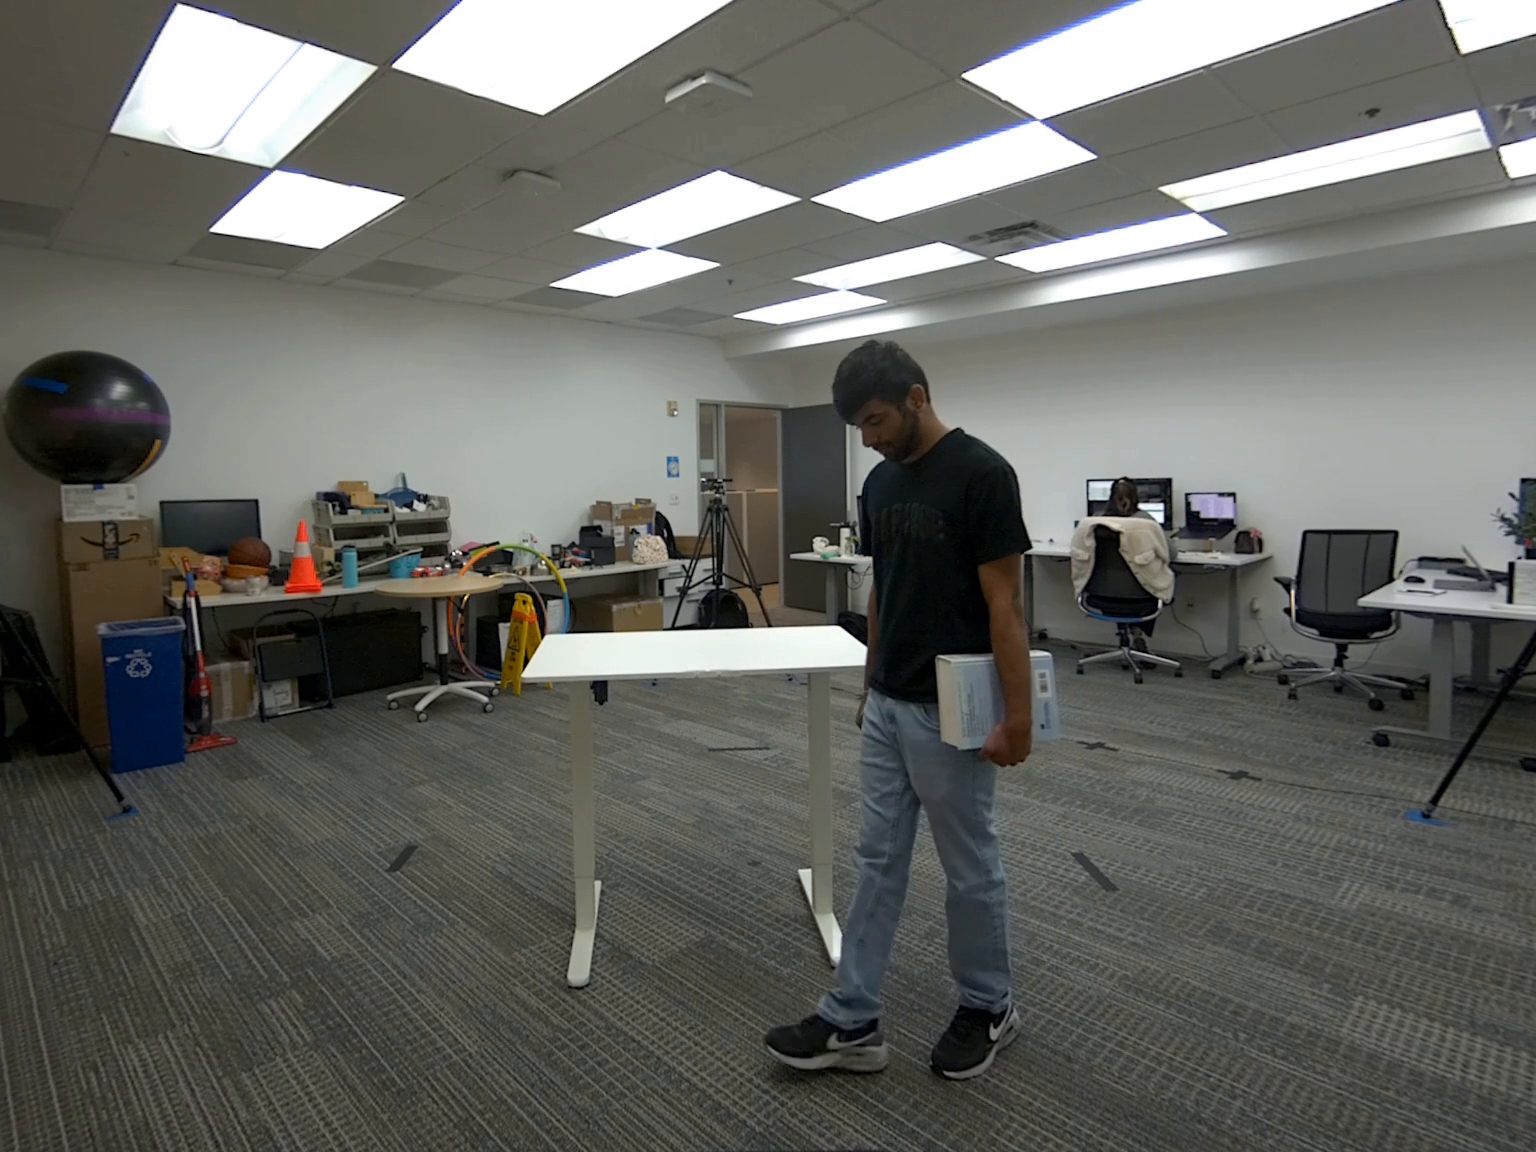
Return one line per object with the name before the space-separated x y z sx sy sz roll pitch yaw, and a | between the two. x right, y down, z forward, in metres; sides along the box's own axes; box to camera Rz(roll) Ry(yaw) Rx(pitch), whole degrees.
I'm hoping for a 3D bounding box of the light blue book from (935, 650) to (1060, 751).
light blue book | 0.501 0.266 1.869 0.256 0.193 0.059 1 -7 -18
